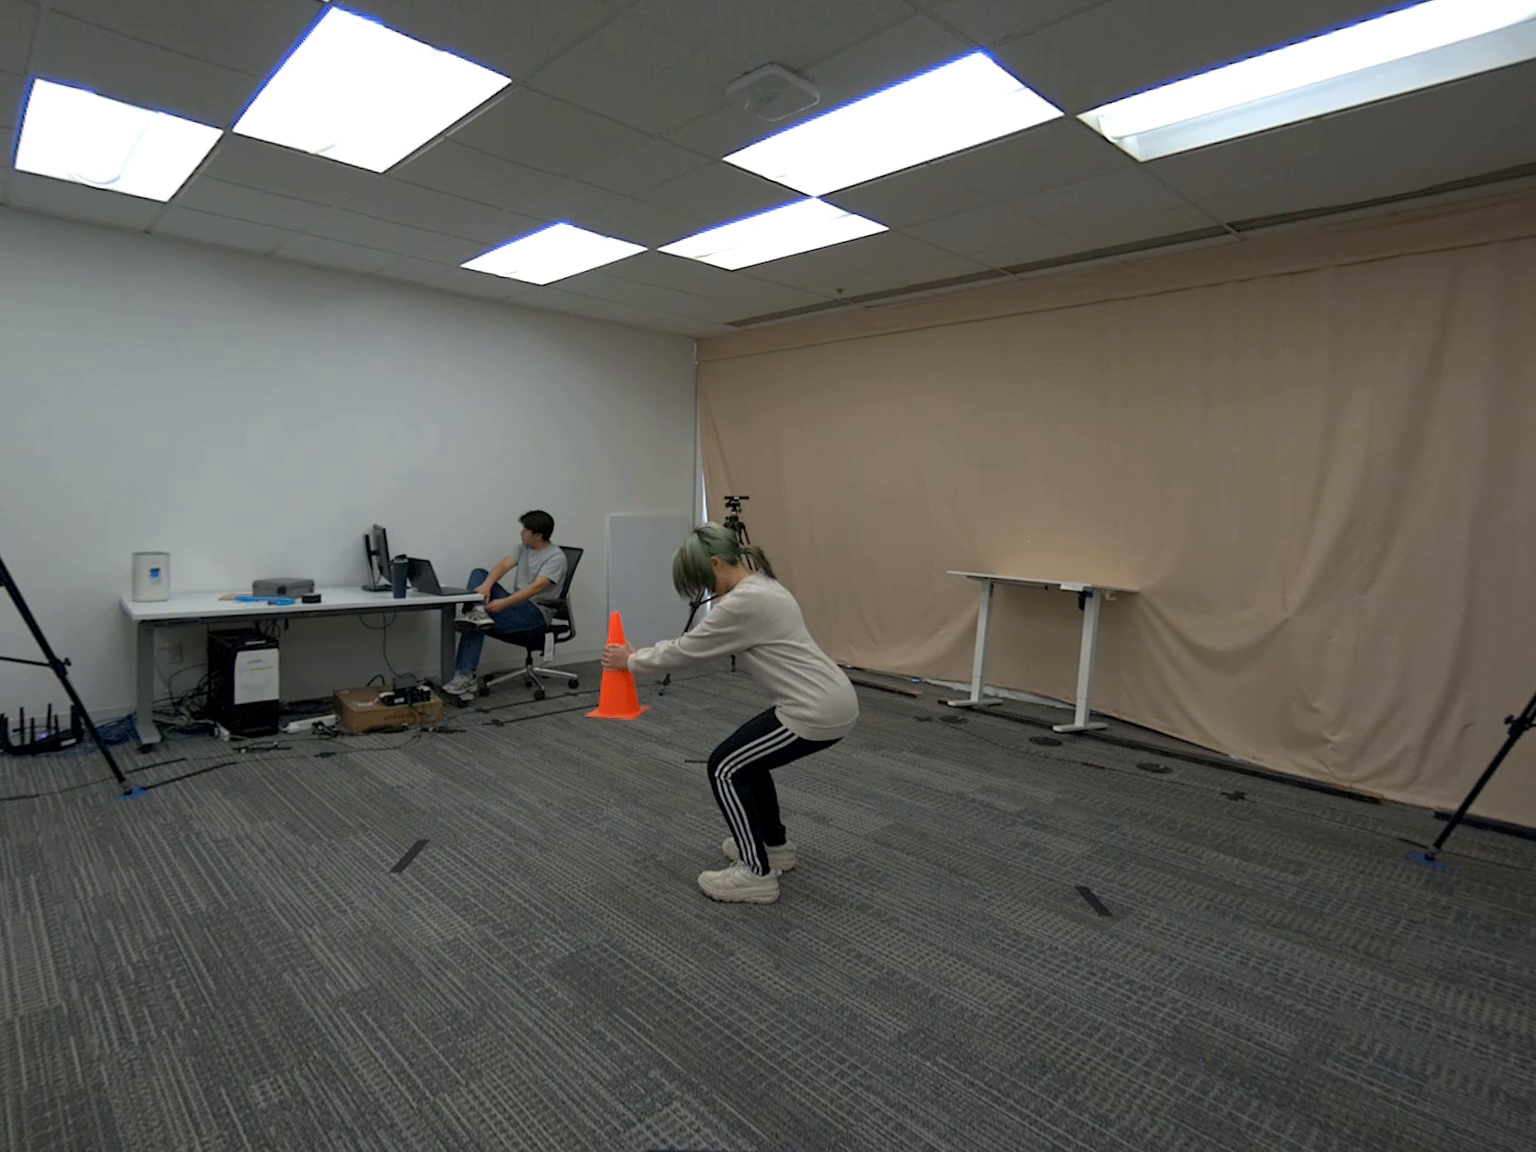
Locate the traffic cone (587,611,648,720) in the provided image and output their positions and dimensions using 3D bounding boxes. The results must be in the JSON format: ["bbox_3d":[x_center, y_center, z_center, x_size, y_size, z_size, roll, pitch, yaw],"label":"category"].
[{"bbox_3d":[-0.574,0.329,3.202,0.206,0.383,0.202,0,1,18],"label":"traffic cone"}]
